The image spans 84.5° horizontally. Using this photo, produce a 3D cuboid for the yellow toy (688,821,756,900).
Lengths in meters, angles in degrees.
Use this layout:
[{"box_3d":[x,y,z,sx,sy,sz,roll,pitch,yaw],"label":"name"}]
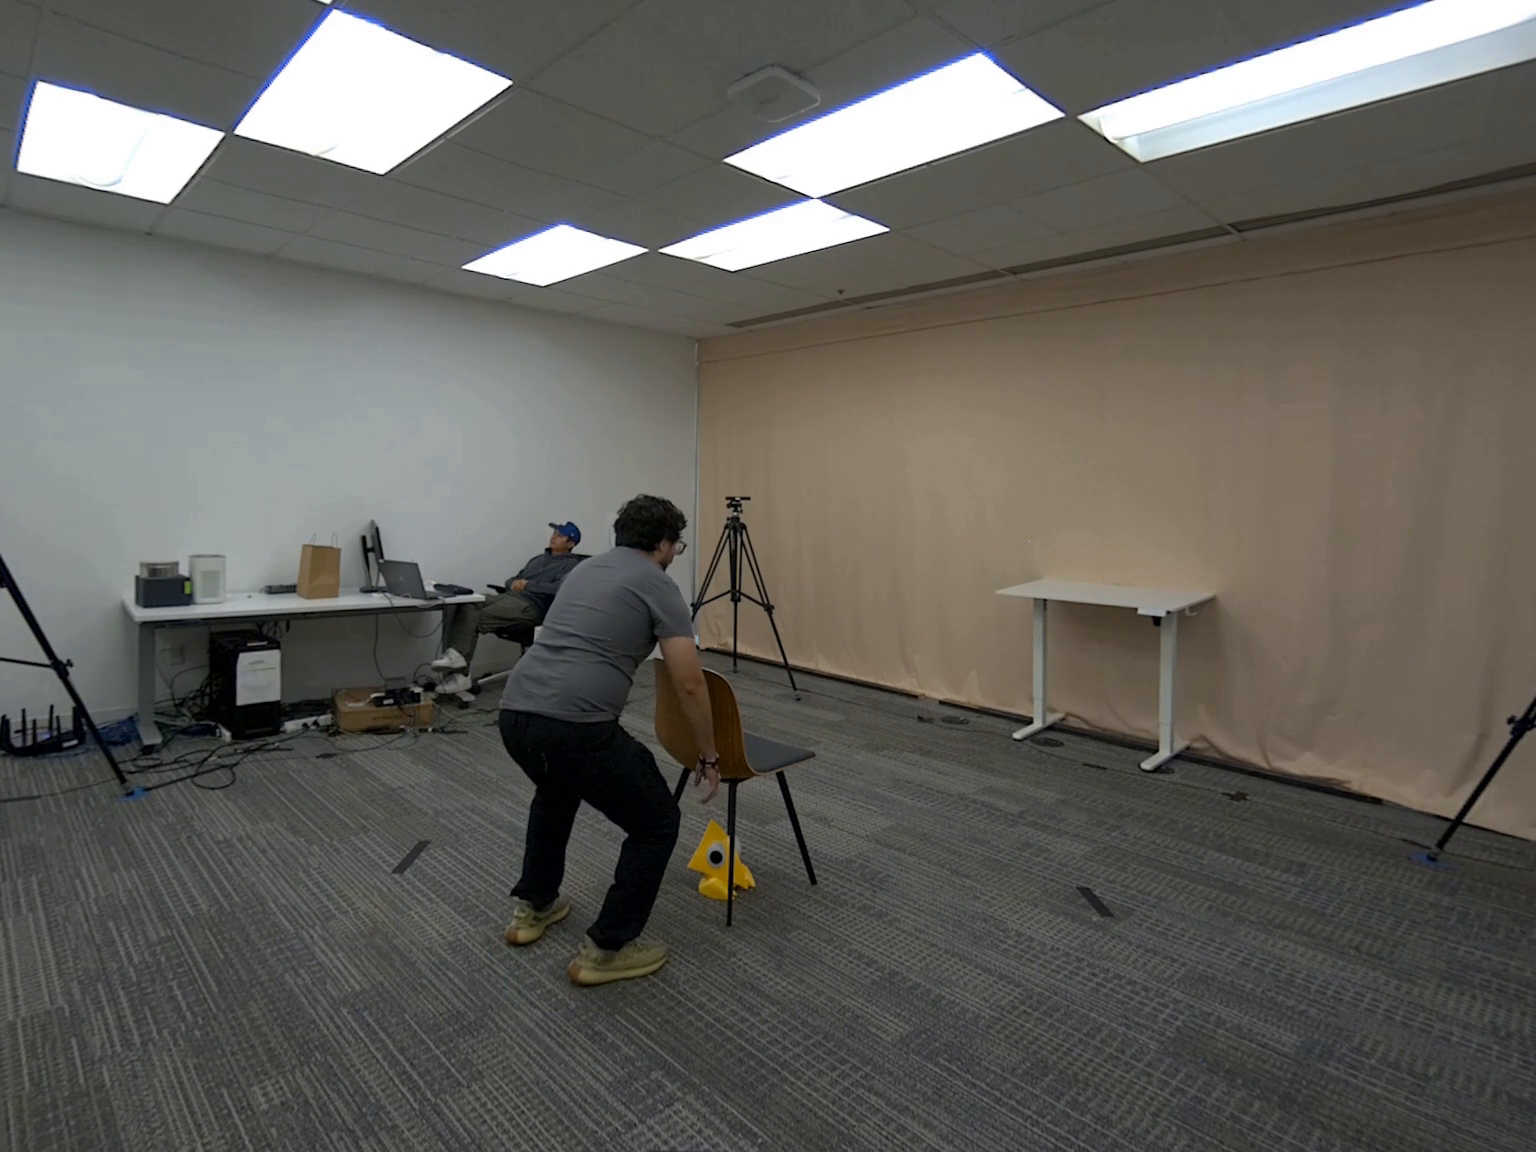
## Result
[{"box_3d":[-0.167,1.000,3.015,0.198,0.230,0.200,3,5,36],"label":"yellow toy"}]
